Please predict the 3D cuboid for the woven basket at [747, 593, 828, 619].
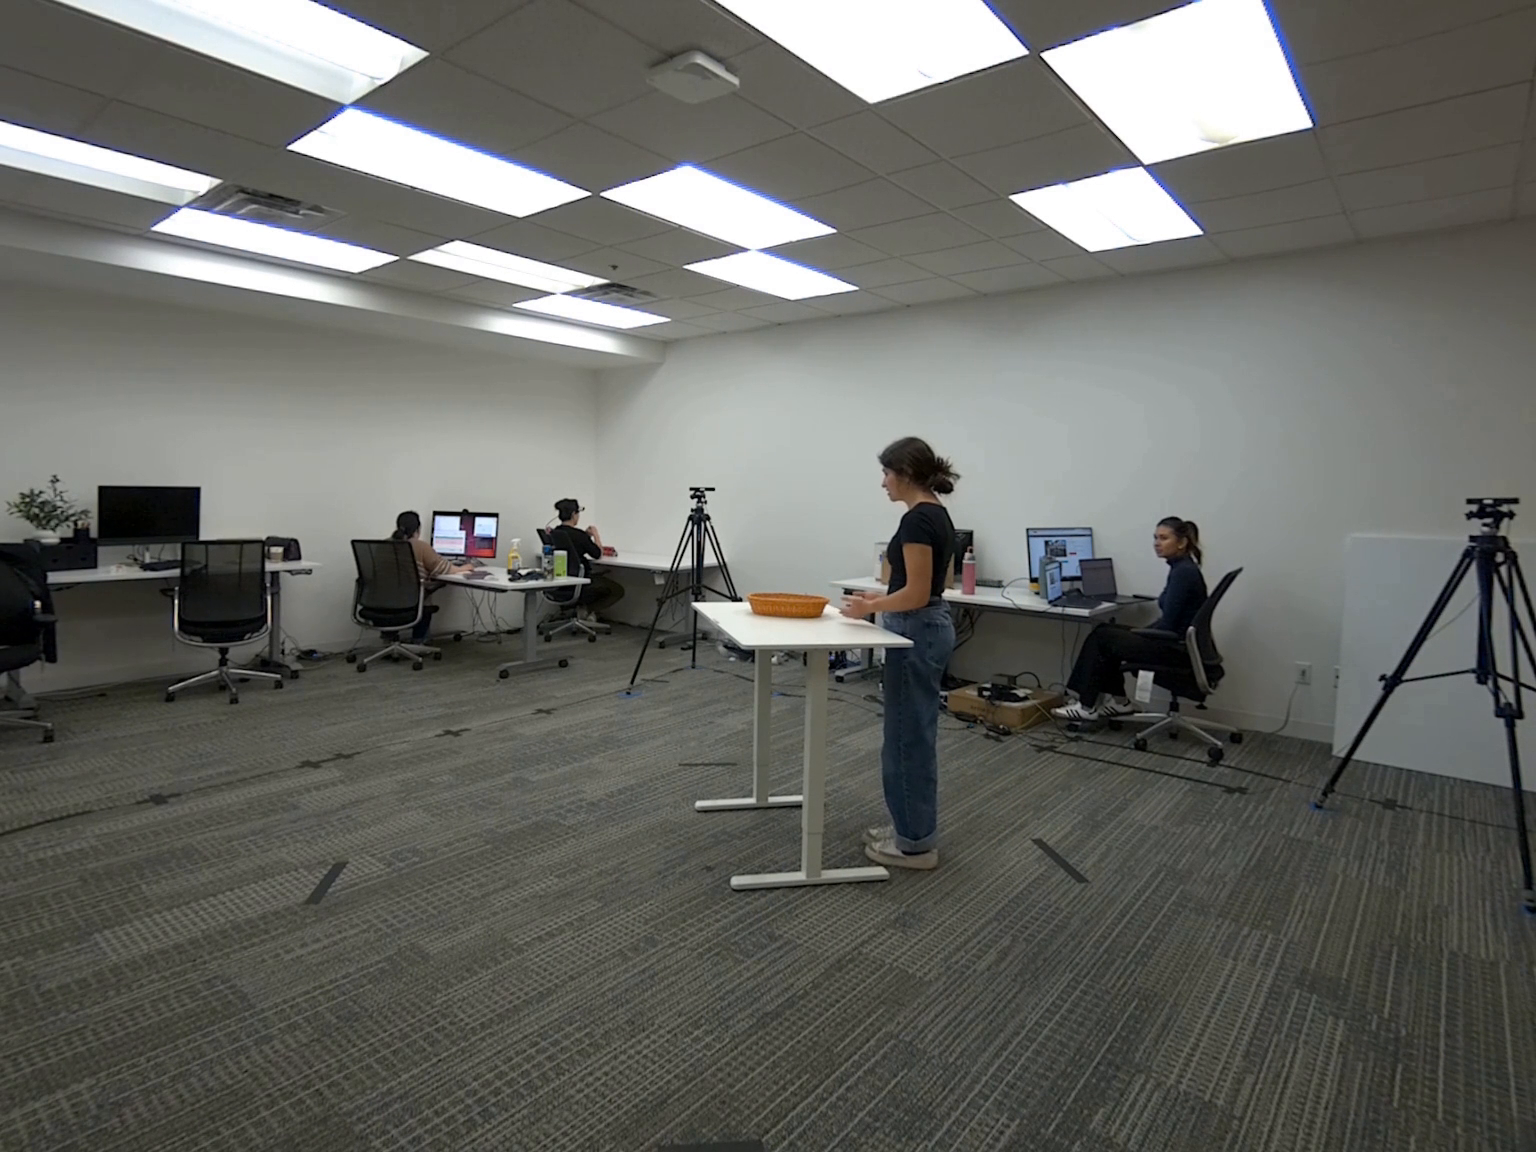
[{"bbox_3d":[0.074,0.121,3.492,0.357,0.073,0.249,3,5,15],"label":"woven basket"}]
